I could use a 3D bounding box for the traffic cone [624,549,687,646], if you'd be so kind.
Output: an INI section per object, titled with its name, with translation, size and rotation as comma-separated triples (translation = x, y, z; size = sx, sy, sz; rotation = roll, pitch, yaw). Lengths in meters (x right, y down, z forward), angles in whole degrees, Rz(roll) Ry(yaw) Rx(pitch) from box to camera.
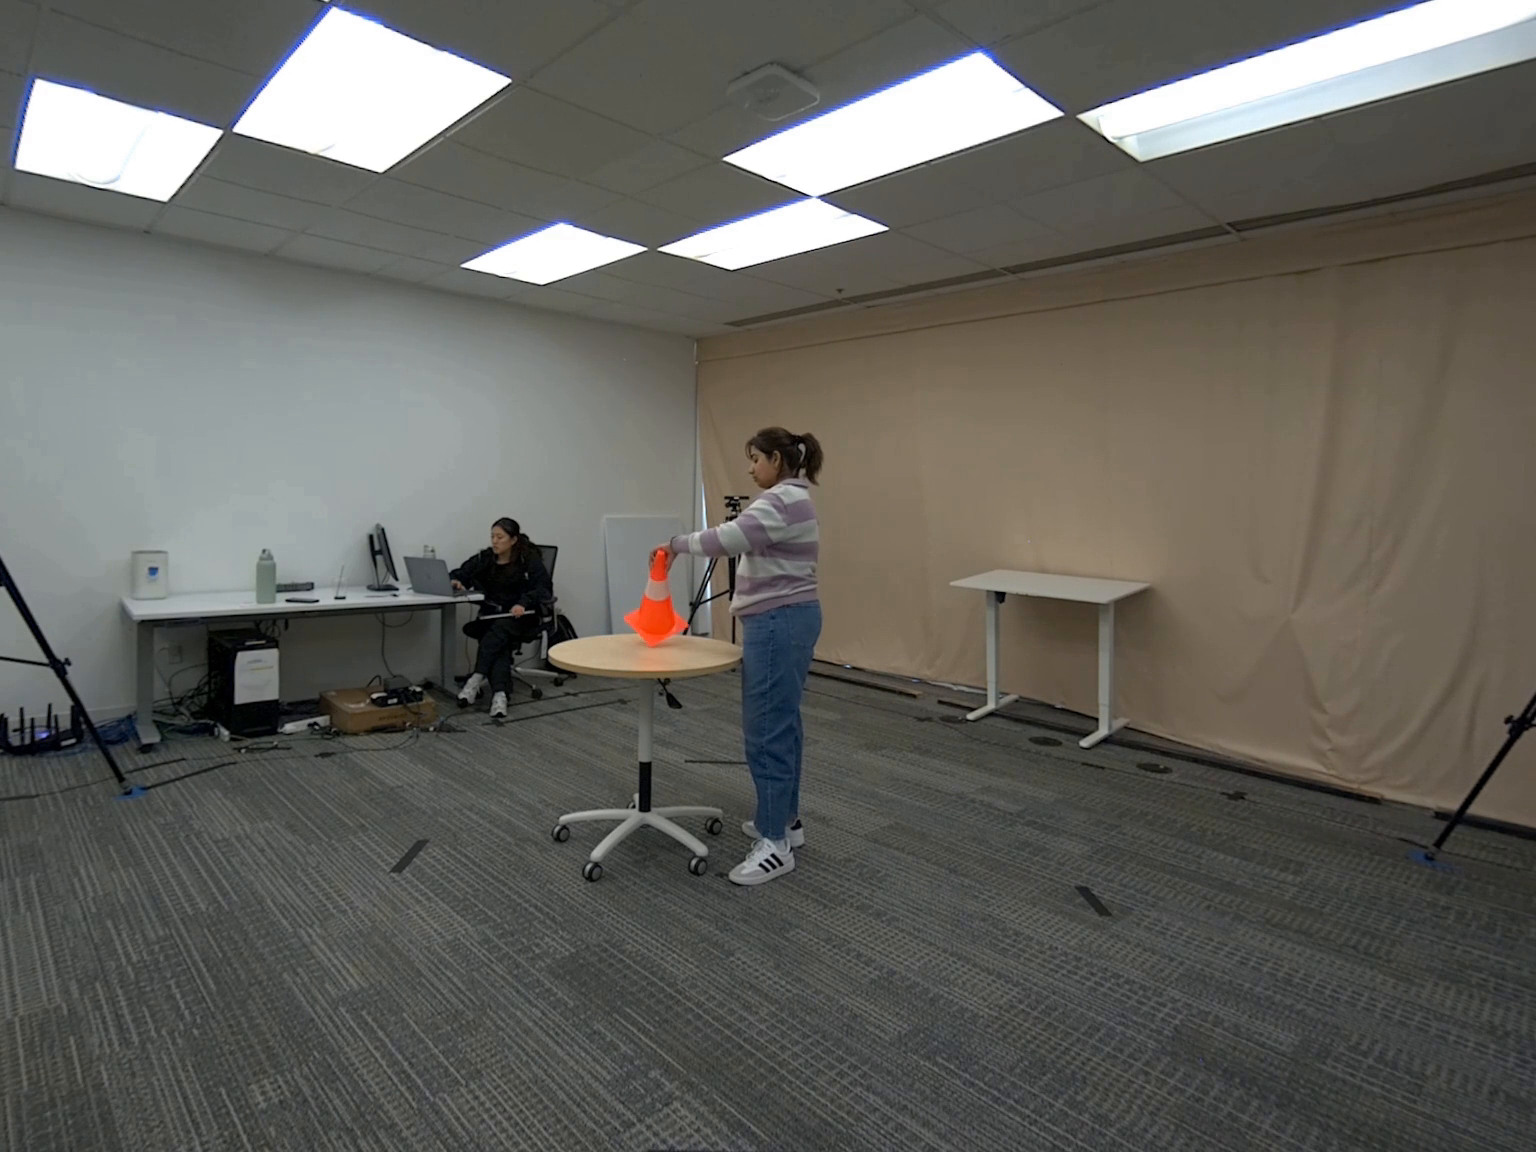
[traffic cone]
translation = -0.445, 0.045, 3.331
size = 0.208, 0.376, 0.204
rotation = 30, 46, 26
